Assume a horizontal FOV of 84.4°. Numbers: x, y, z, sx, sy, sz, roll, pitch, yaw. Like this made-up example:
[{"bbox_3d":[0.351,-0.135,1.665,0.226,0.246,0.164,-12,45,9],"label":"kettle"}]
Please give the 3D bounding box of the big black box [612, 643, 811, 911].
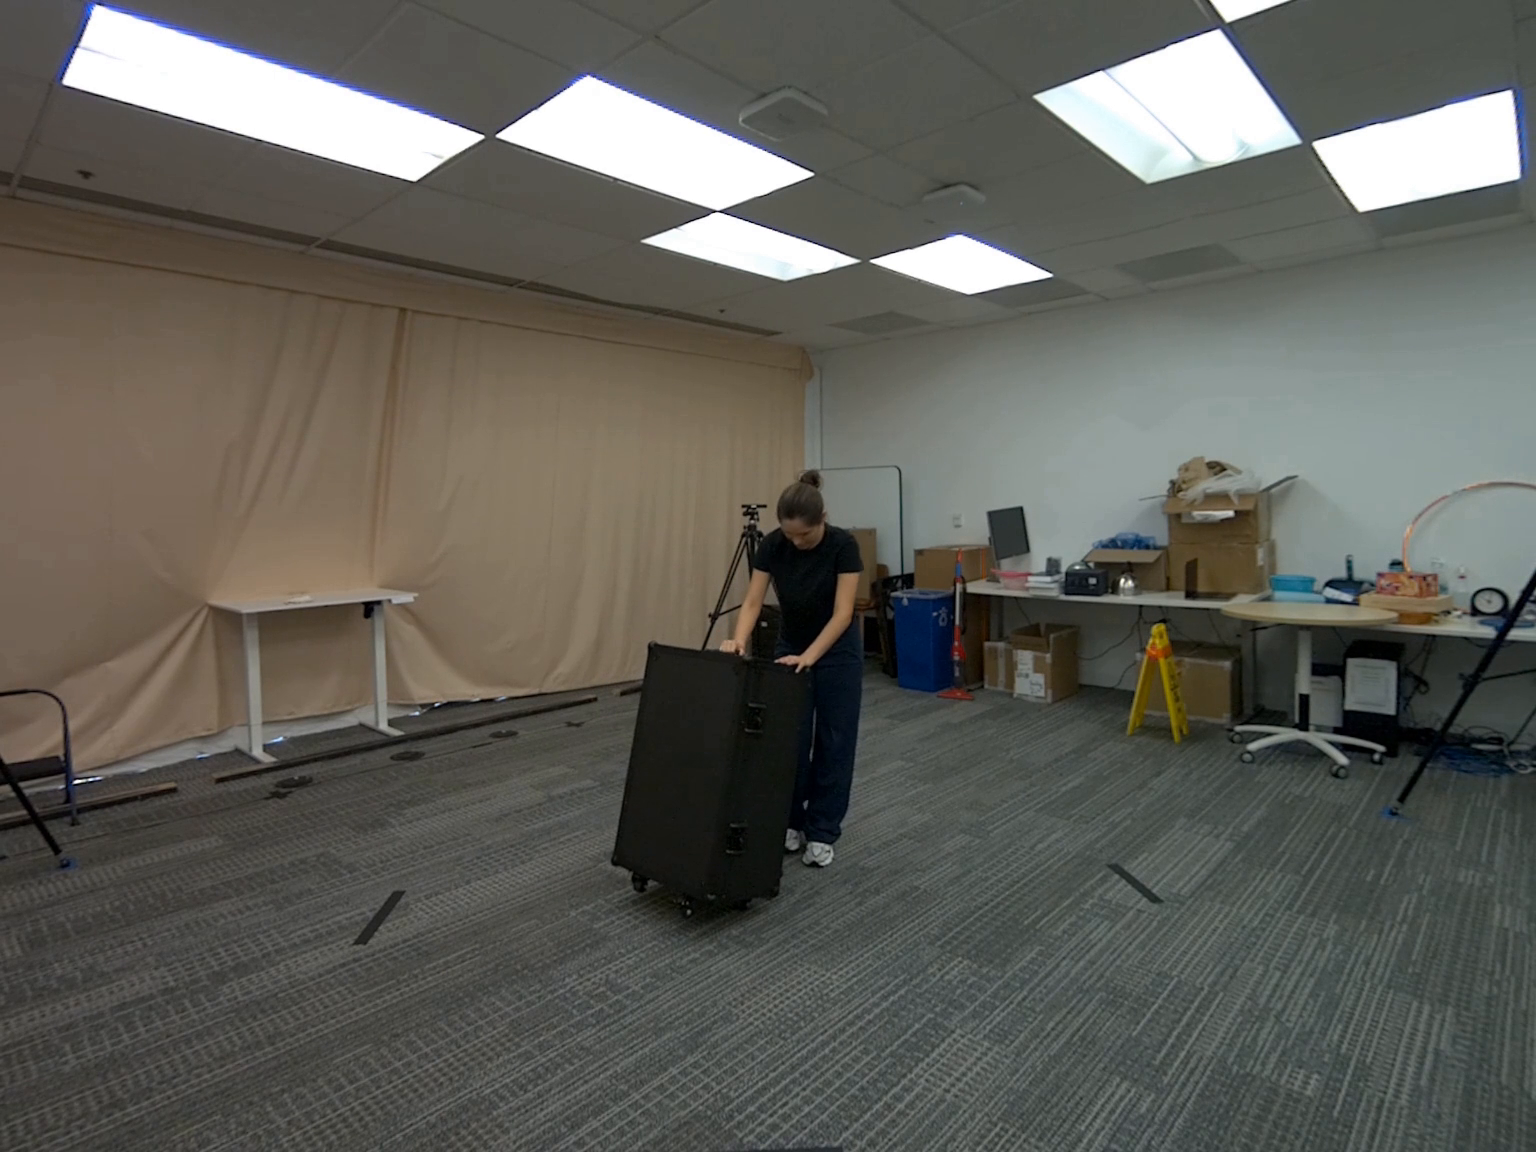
[{"bbox_3d":[-0.194,0.700,2.963,0.538,0.864,0.382,3,-9,41],"label":"big black box"}]
